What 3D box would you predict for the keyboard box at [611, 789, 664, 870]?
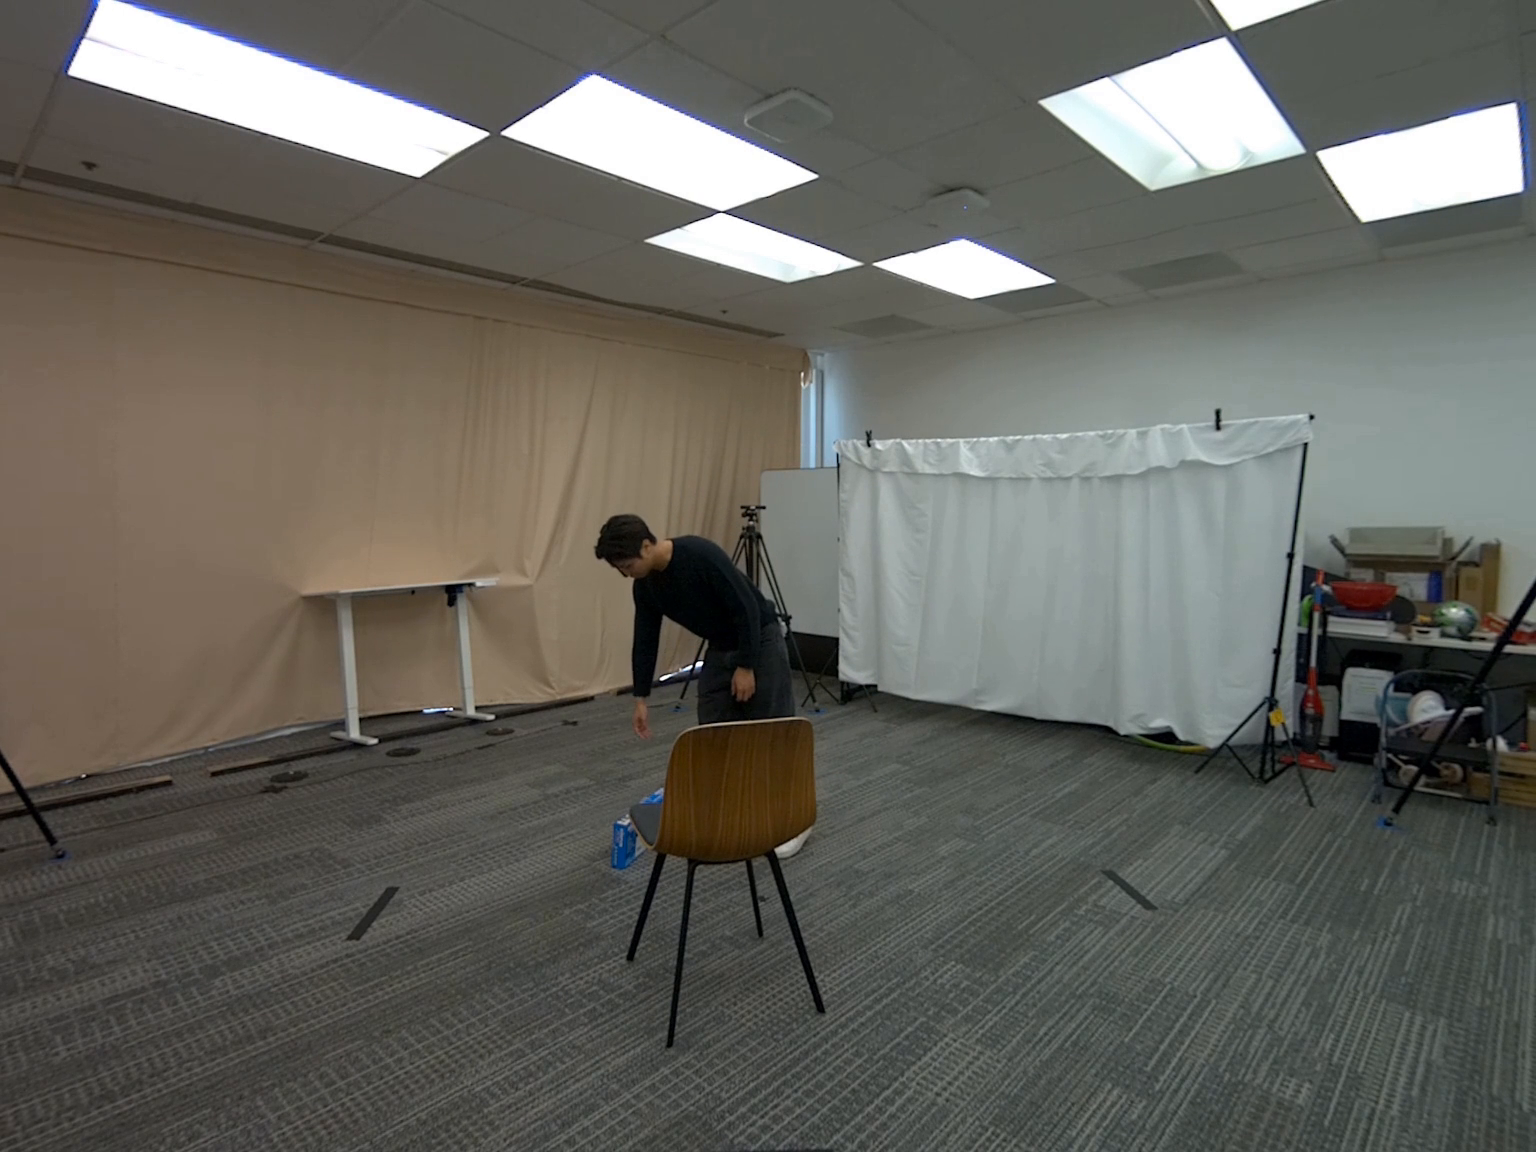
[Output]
[{"bbox_3d":[-0.511,1.022,3.440,0.060,0.175,0.429,6,6,16],"label":"keyboard box"}]
